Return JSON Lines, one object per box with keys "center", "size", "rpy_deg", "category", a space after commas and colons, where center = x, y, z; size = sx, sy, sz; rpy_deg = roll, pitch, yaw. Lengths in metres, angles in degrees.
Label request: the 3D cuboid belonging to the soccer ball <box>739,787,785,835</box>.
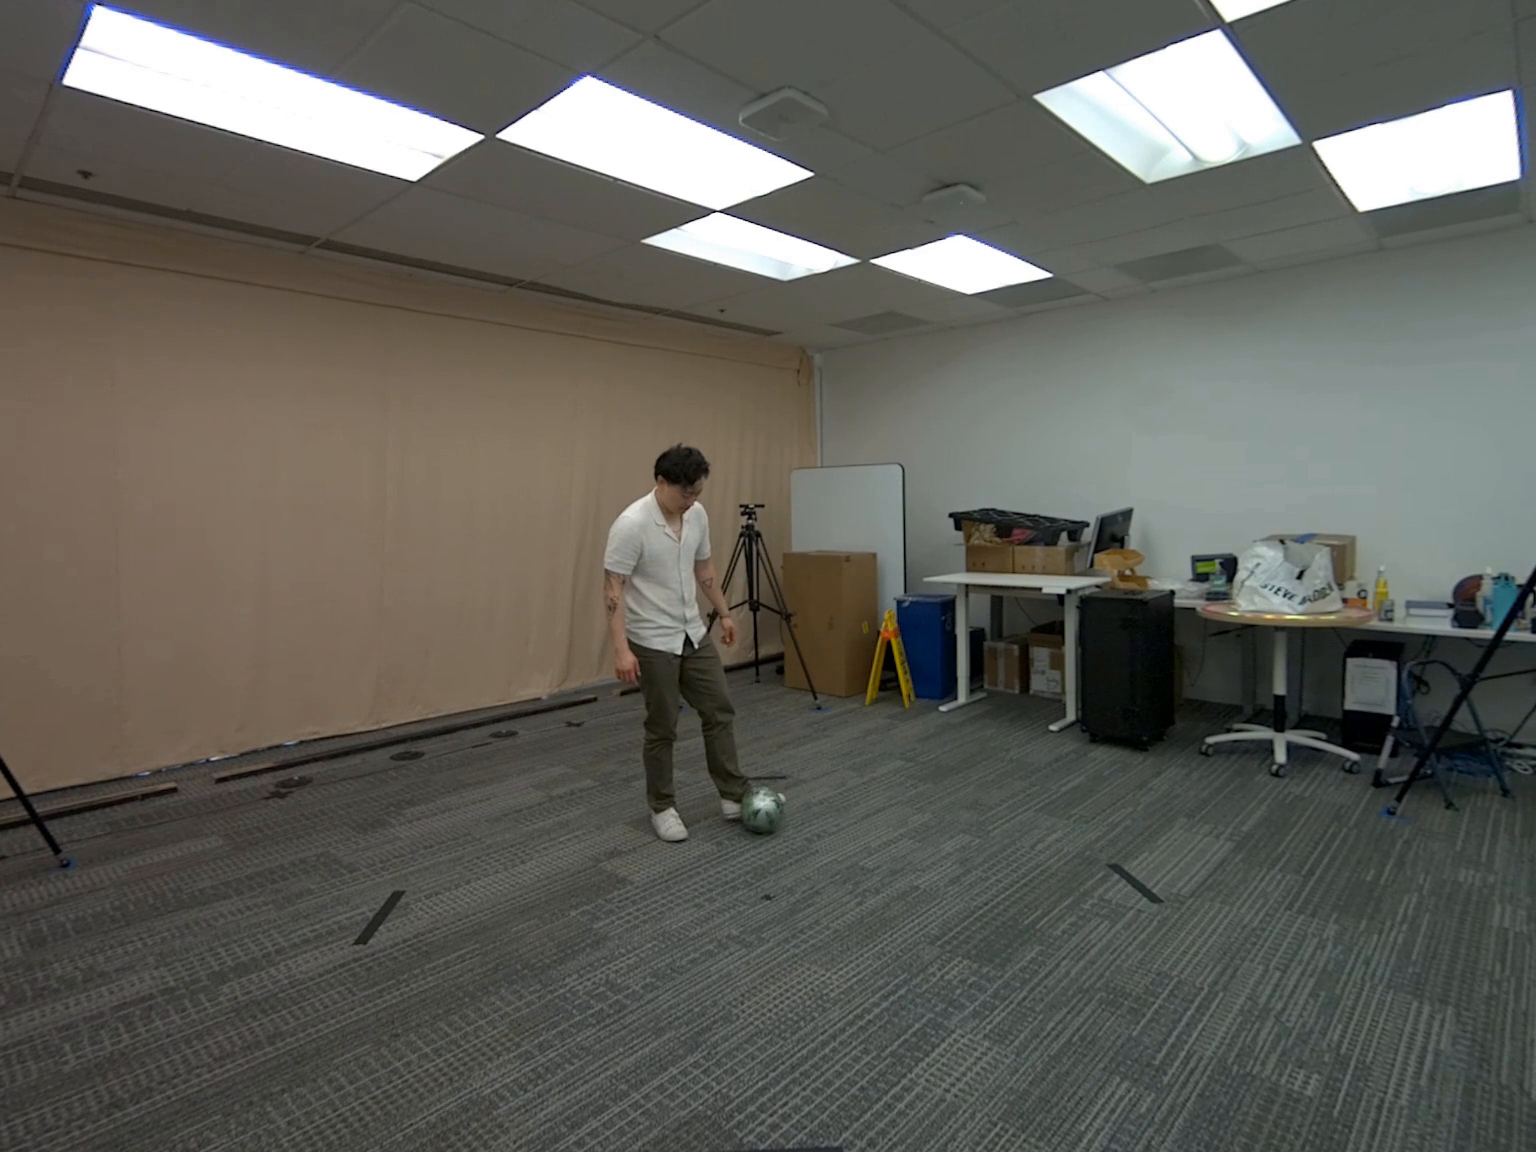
{"center": [-0.029, 0.996, 3.578], "size": [0.187, 0.187, 0.188], "rpy_deg": [-1, 4, -2], "category": "soccer ball"}
